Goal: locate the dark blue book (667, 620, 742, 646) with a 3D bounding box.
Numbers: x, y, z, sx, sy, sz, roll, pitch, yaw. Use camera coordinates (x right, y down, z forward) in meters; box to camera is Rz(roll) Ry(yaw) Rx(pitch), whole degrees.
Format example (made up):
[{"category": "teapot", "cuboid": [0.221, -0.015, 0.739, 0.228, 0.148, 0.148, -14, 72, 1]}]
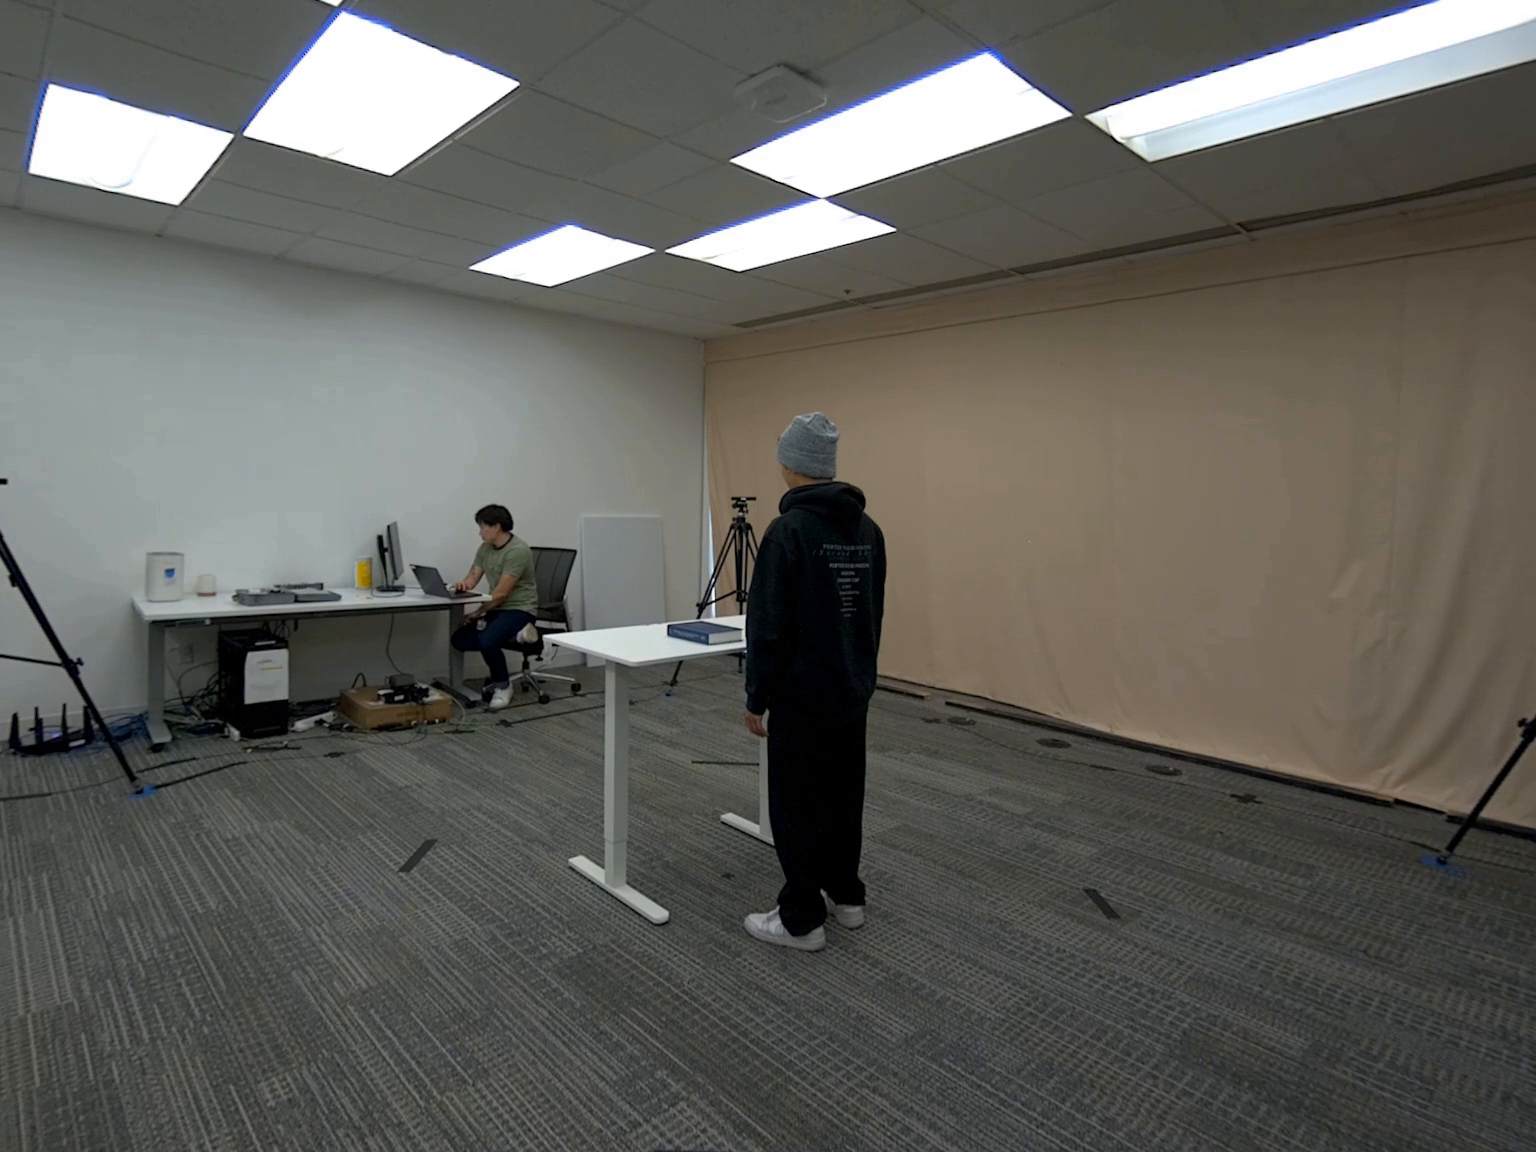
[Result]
[{"category": "dark blue book", "cuboid": [-0.243, 0.209, 3.057, 0.160, 0.045, 0.251, -4, 7, -41]}]
